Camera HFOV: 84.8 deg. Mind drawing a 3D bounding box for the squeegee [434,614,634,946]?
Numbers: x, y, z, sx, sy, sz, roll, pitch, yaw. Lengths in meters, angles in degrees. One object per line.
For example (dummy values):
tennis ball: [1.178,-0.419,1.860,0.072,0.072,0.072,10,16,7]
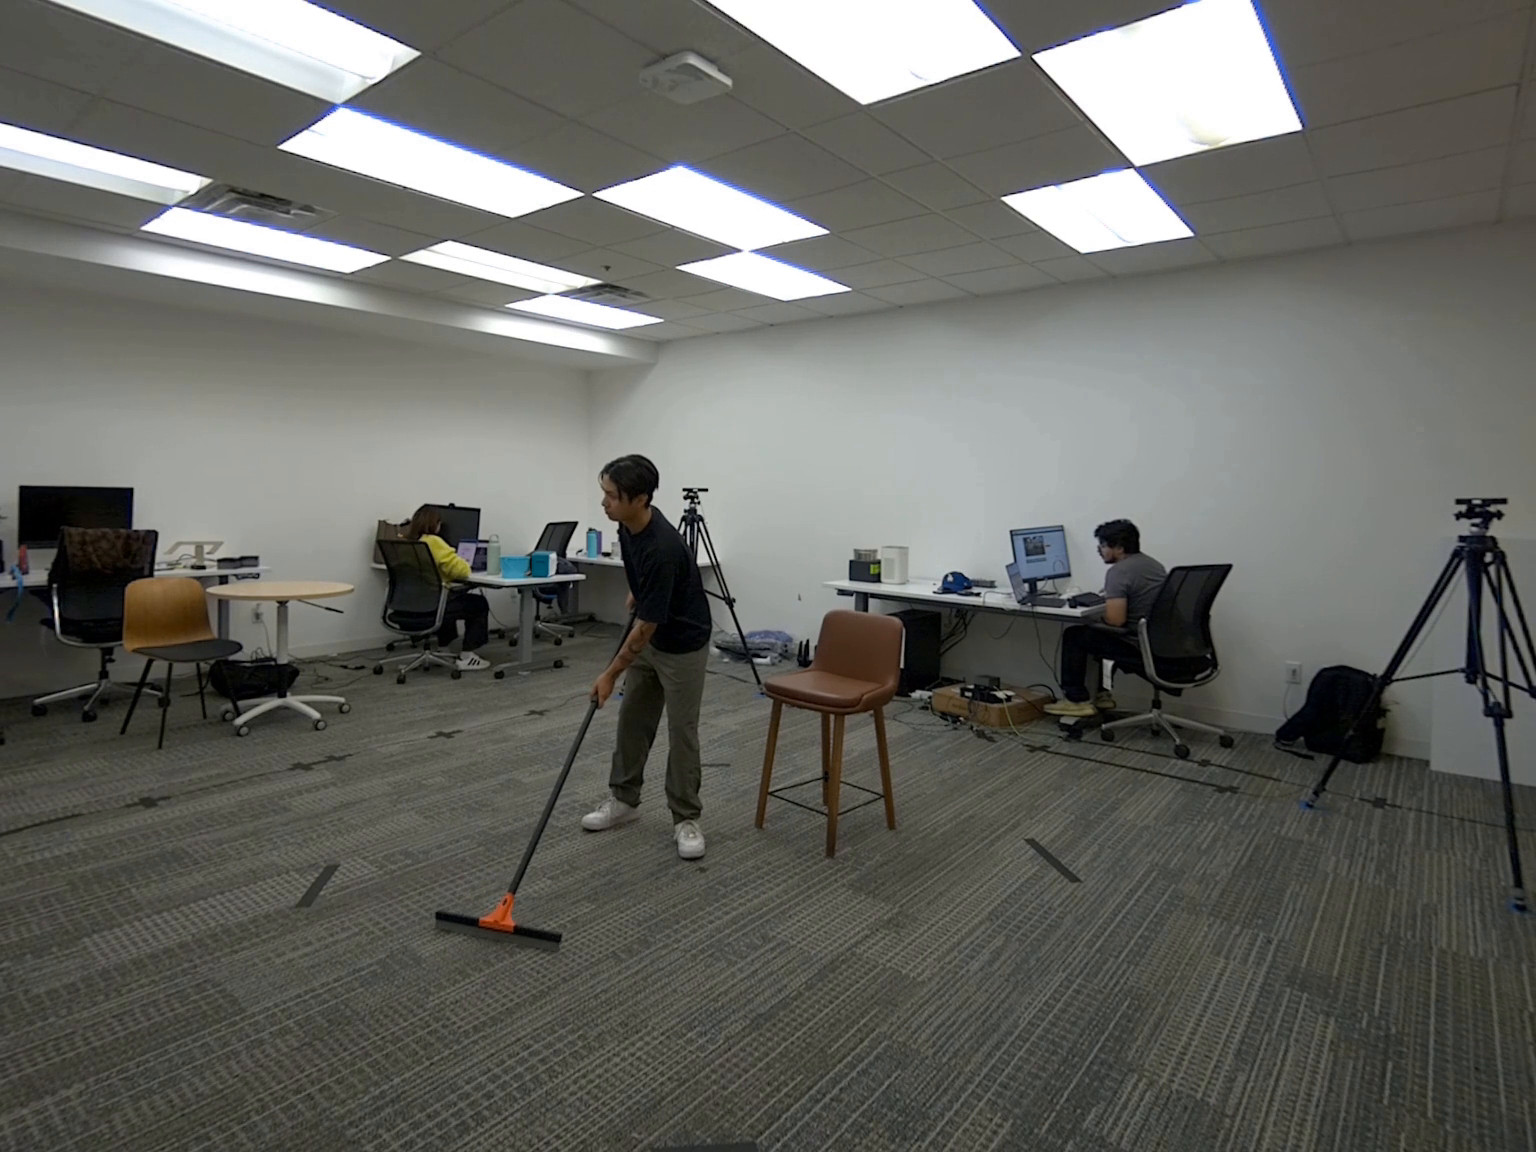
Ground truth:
squeegee: [-0.682,0.561,3.143,0.445,0.051,1.564,1,42,14]
